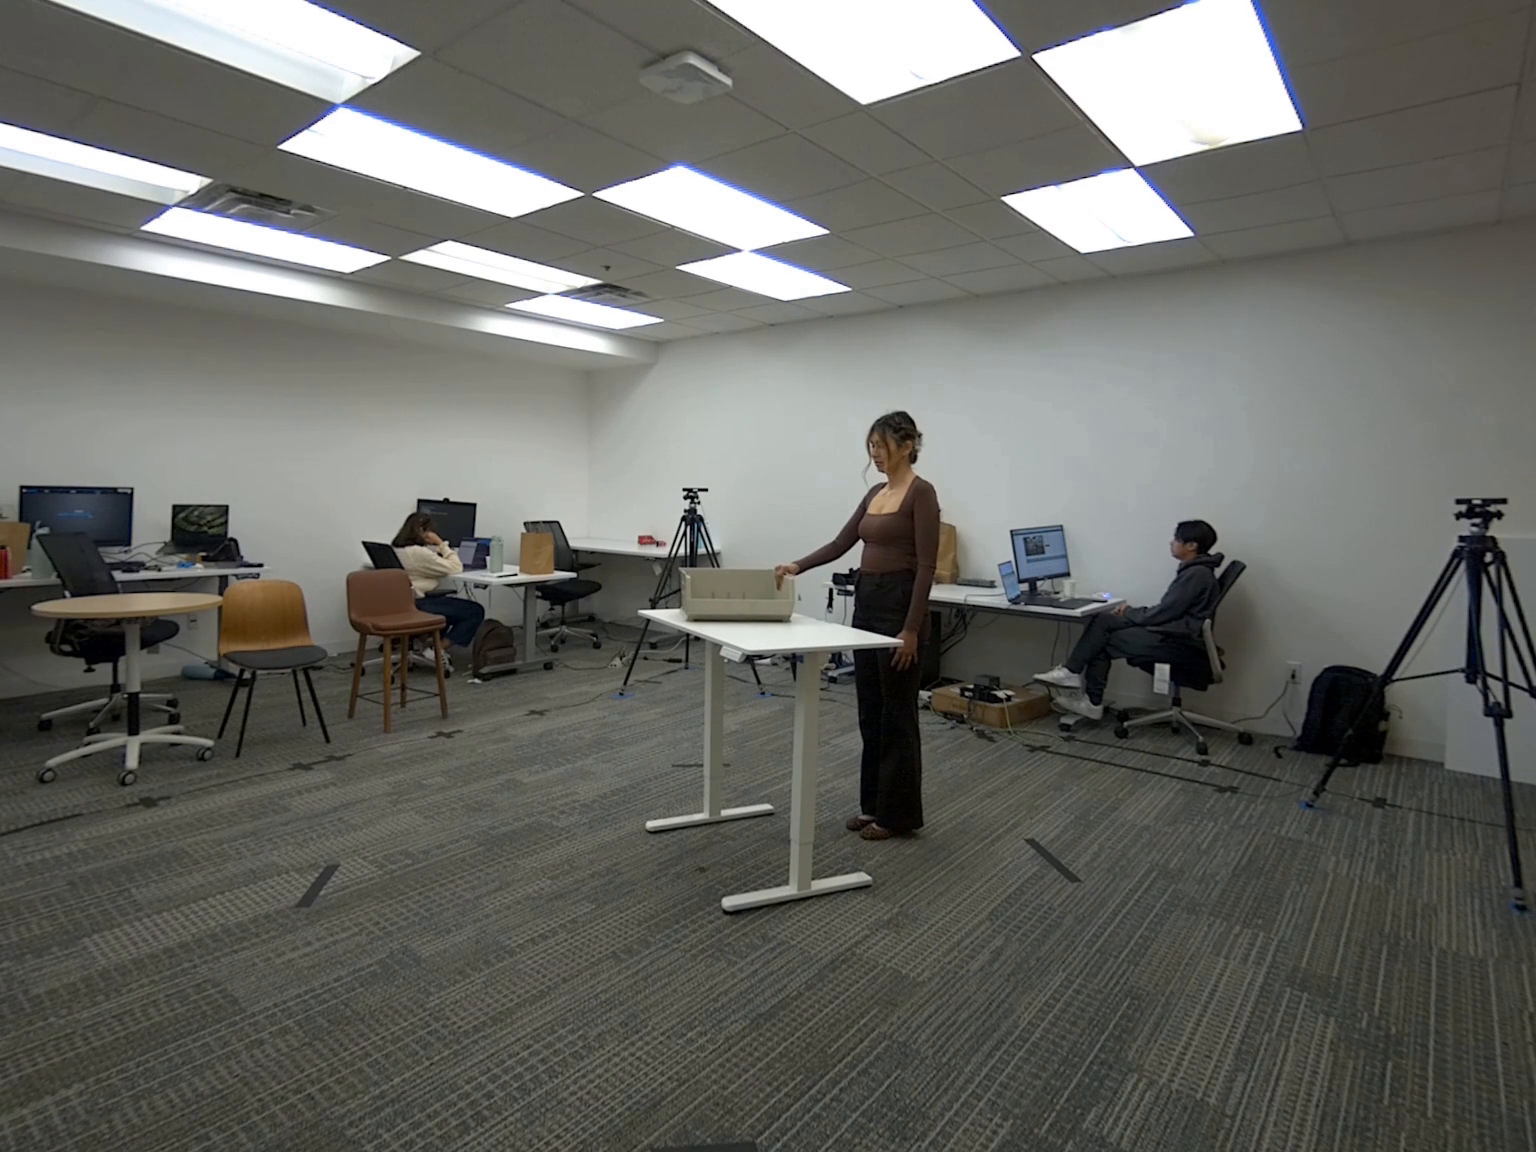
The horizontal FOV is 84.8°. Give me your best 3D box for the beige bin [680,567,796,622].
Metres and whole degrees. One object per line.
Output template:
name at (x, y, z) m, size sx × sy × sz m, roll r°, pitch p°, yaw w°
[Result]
beige bin at (-0.141, 0.081, 3.381) m, size 0.419 × 0.188 × 0.382 m, roll 0°, pitch 5°, yaw -8°
